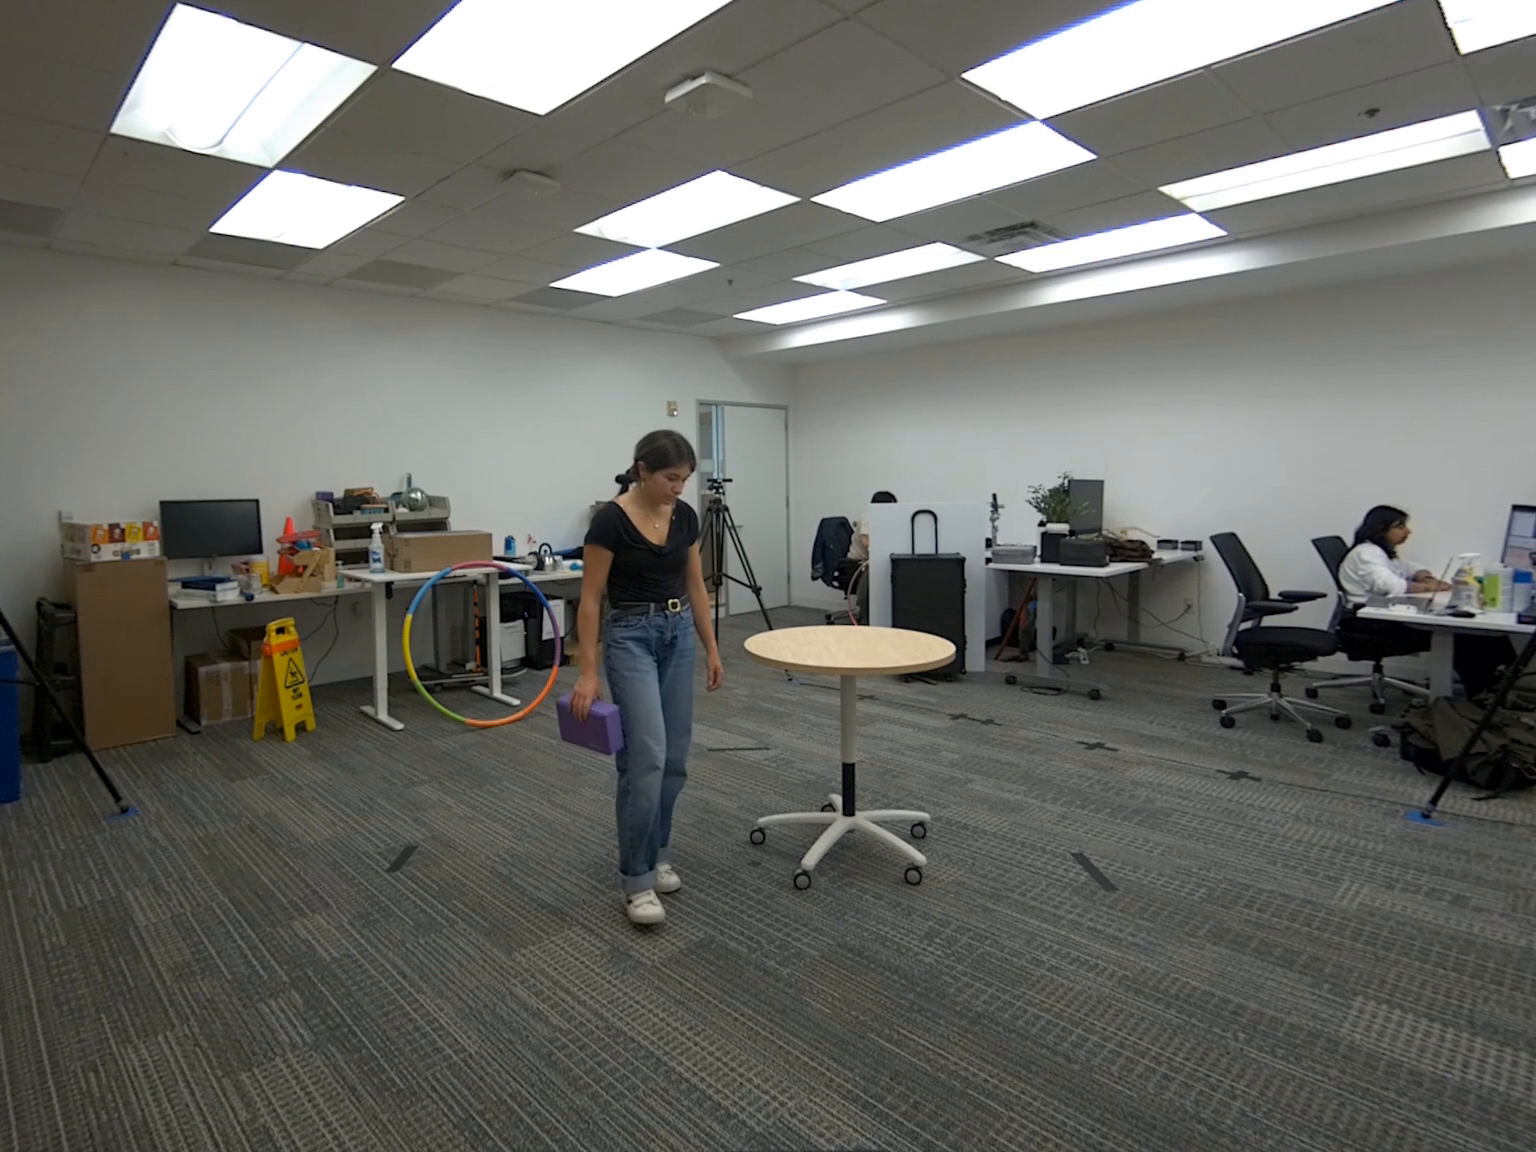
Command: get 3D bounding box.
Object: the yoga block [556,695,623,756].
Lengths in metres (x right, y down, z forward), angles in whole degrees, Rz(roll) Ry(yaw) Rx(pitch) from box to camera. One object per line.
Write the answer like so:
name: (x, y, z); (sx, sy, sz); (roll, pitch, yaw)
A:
yoga block: (-0.572, 0.472, 2.750); (0.236, 0.147, 0.075); (8, 18, 37)
